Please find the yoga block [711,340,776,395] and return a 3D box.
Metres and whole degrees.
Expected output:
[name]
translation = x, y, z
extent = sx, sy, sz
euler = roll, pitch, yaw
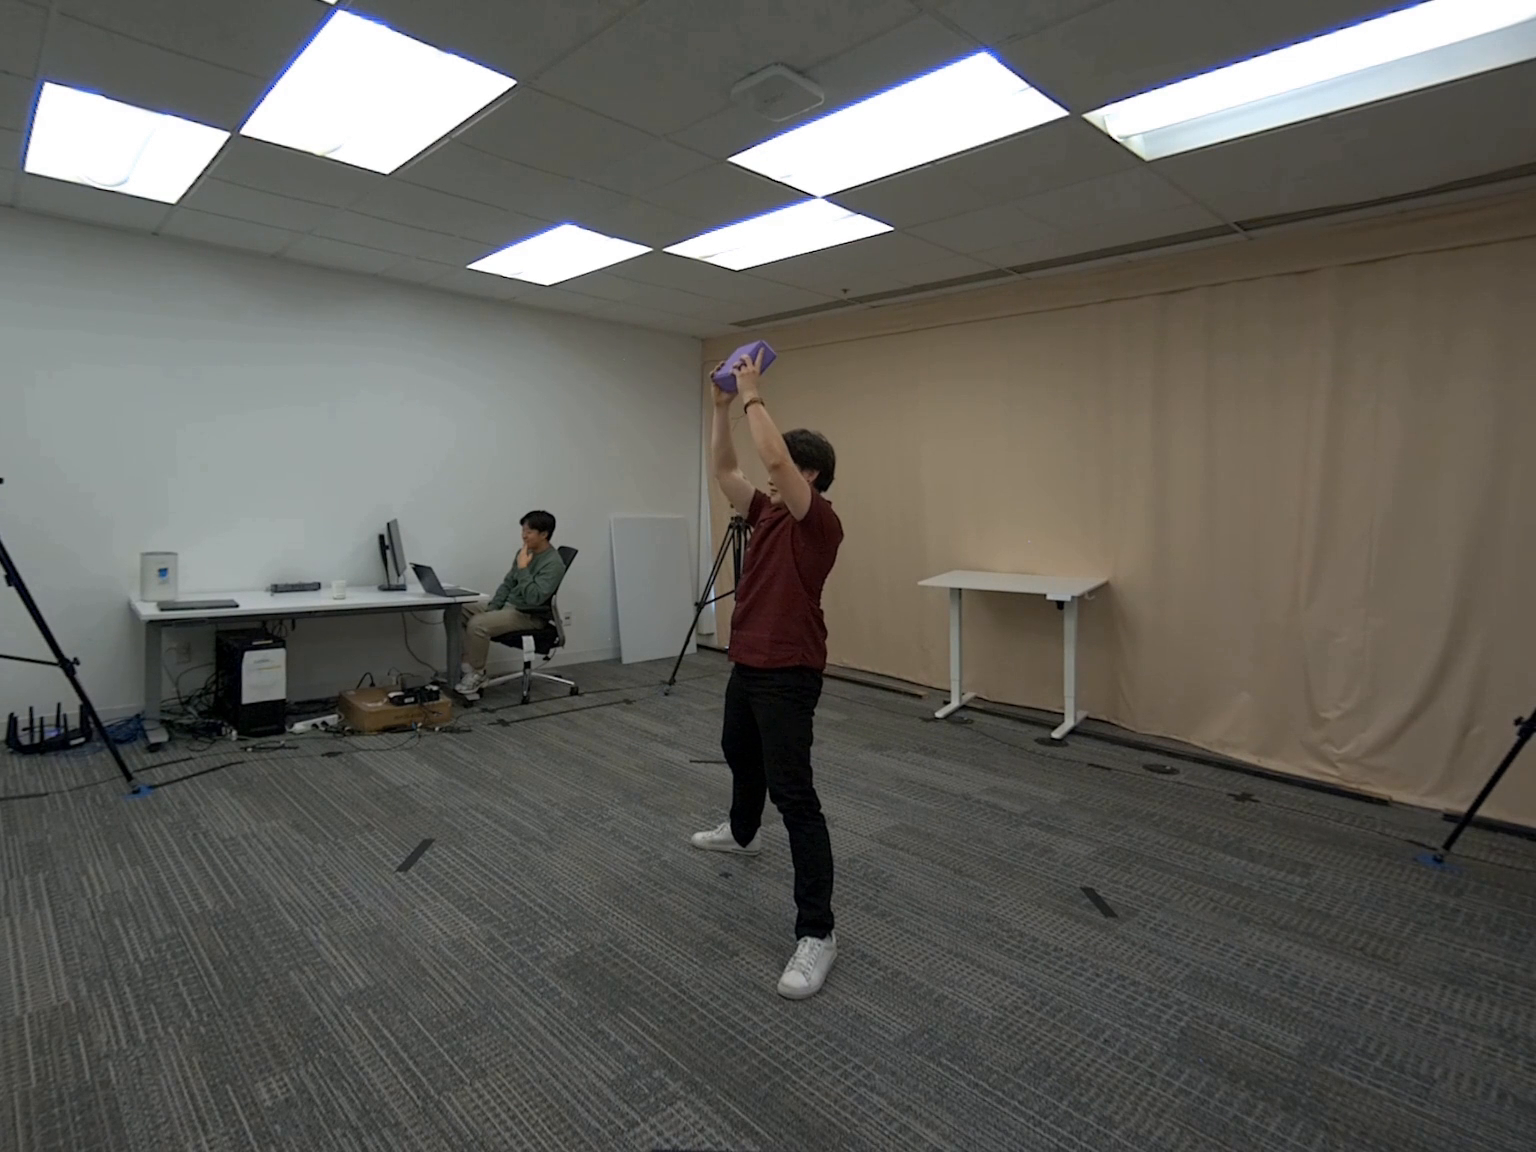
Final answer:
[yoga block]
translation = -0.095, -0.692, 2.780
extent = 0.075, 0.149, 0.234
euler = 42, -8, -22
